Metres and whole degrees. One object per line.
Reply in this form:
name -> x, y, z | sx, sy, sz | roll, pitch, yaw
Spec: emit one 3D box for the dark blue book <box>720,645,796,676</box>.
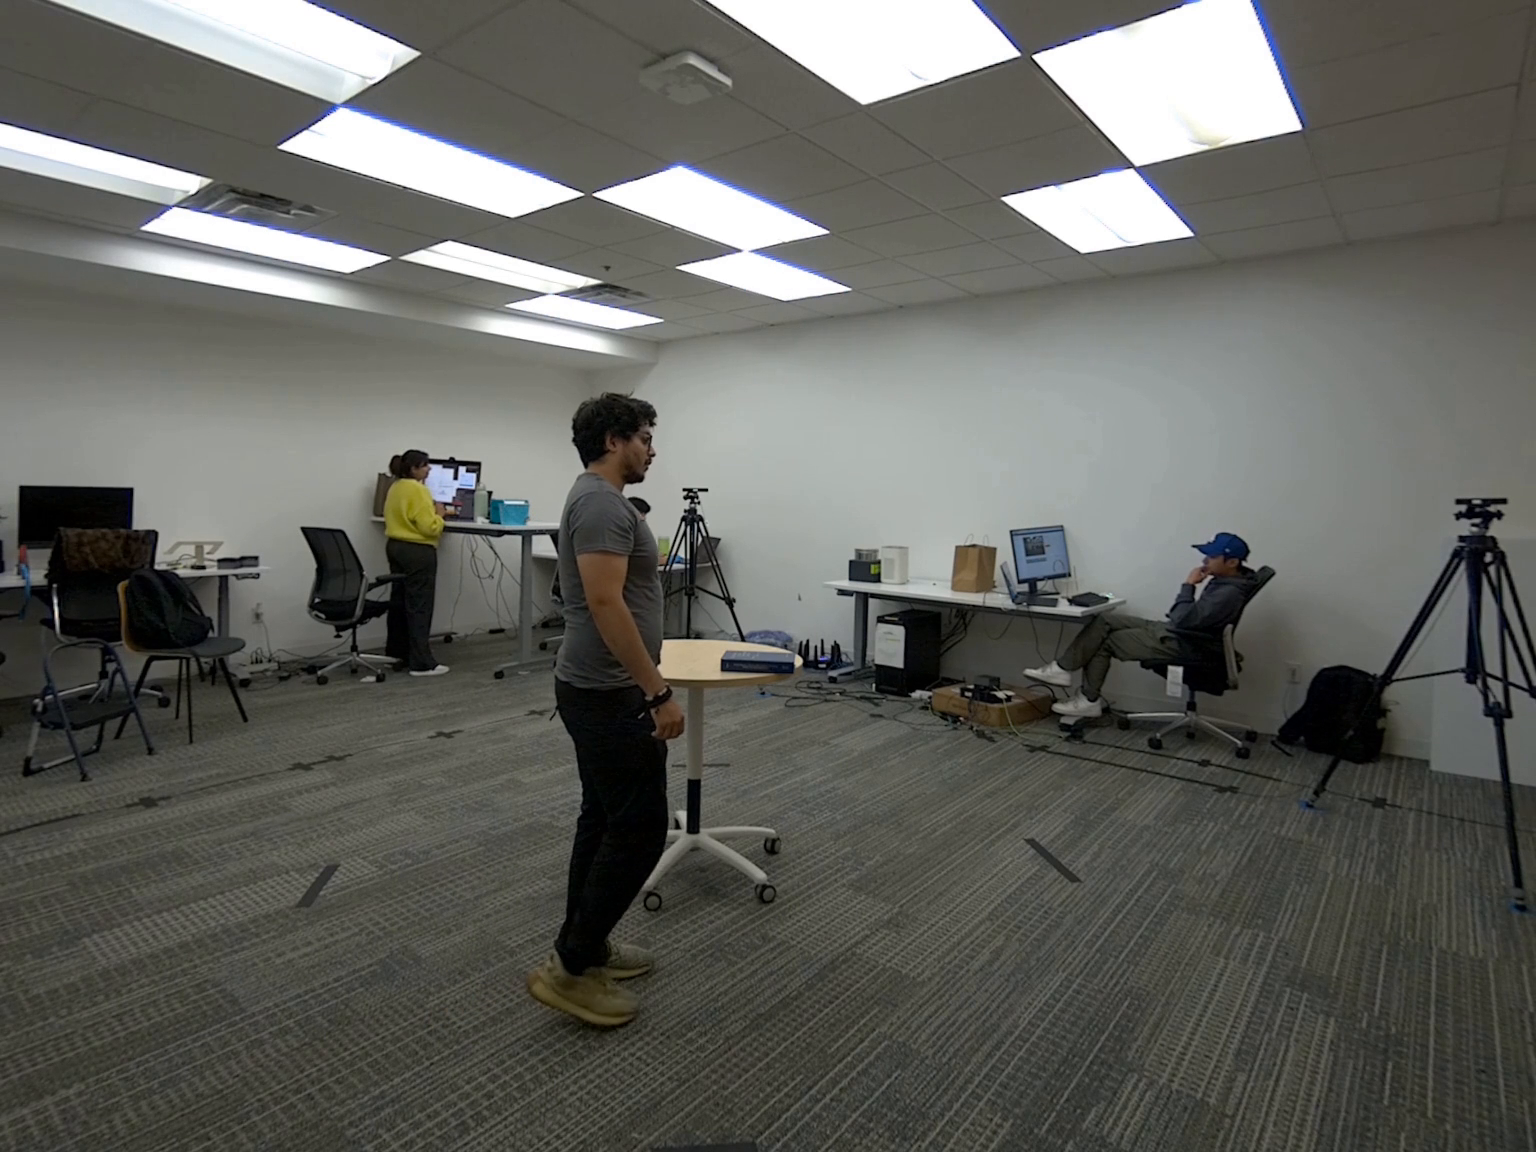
dark blue book -> -0.047, 0.290, 2.881 | 0.247, 0.045, 0.163 | 1, 4, 5
